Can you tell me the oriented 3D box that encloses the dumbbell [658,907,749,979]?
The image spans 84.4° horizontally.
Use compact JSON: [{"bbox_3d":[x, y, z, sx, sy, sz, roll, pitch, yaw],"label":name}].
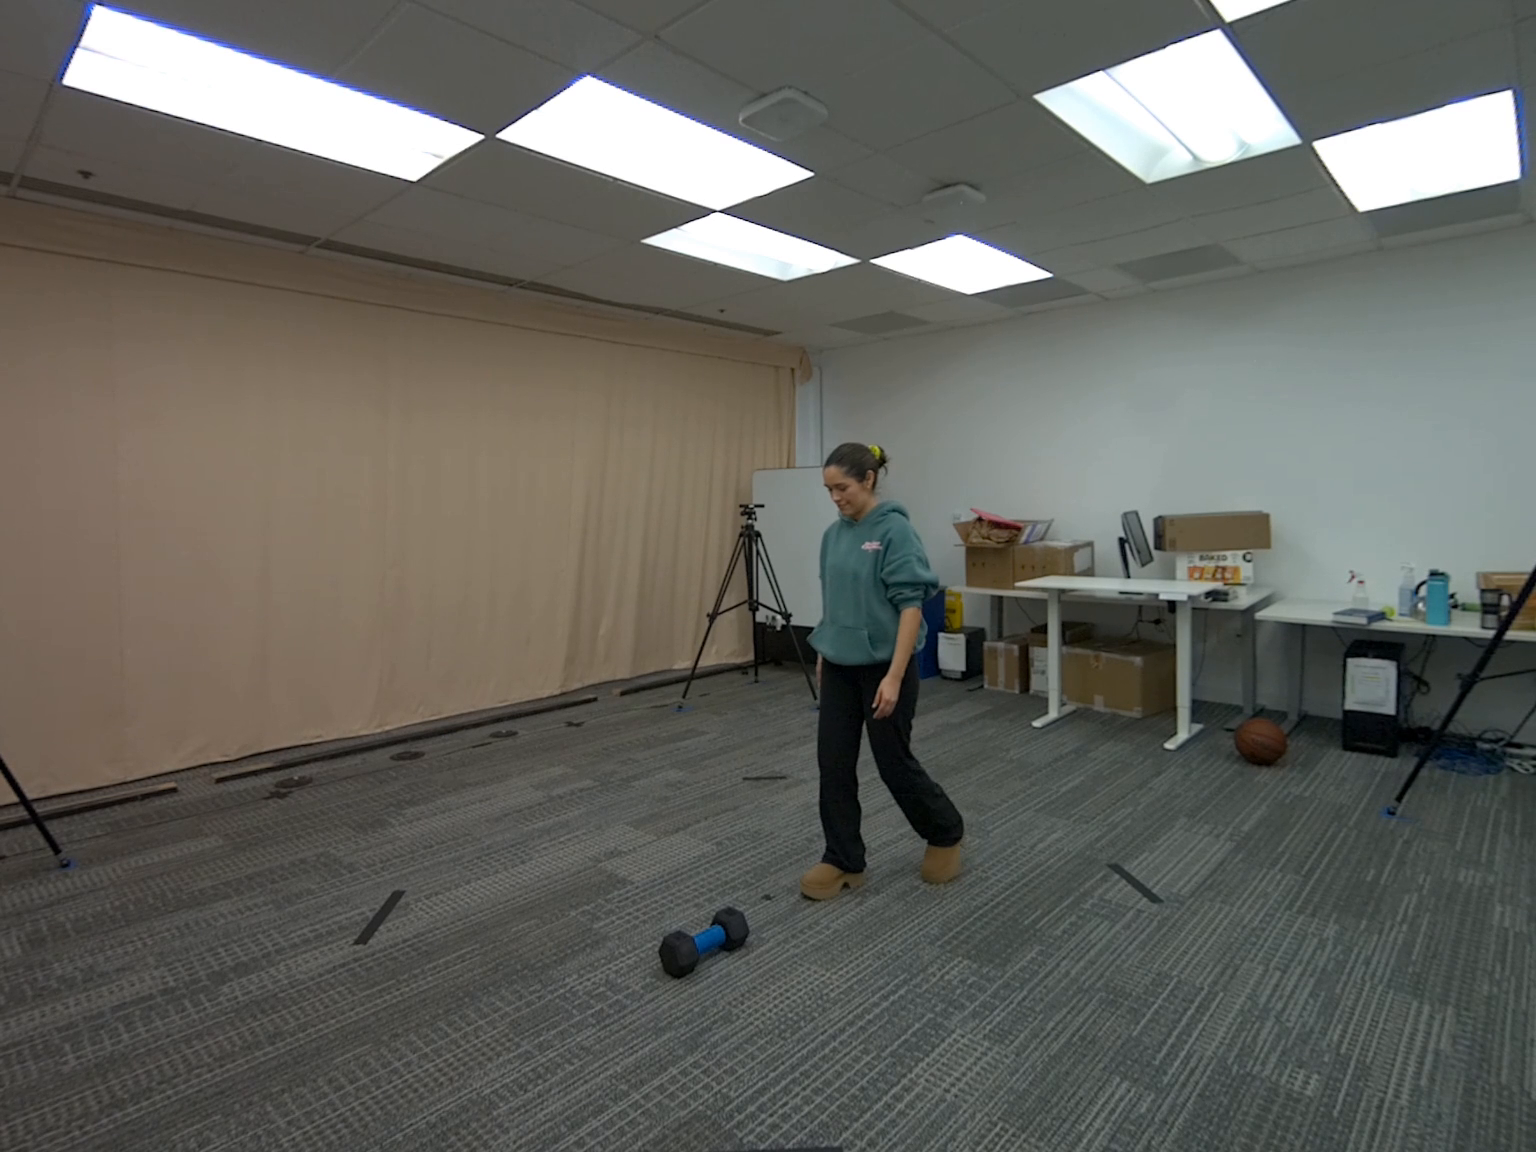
[{"bbox_3d":[-0.191,1.124,2.586,0.285,0.108,0.127,-5,6,-44],"label":"dumbbell"}]
